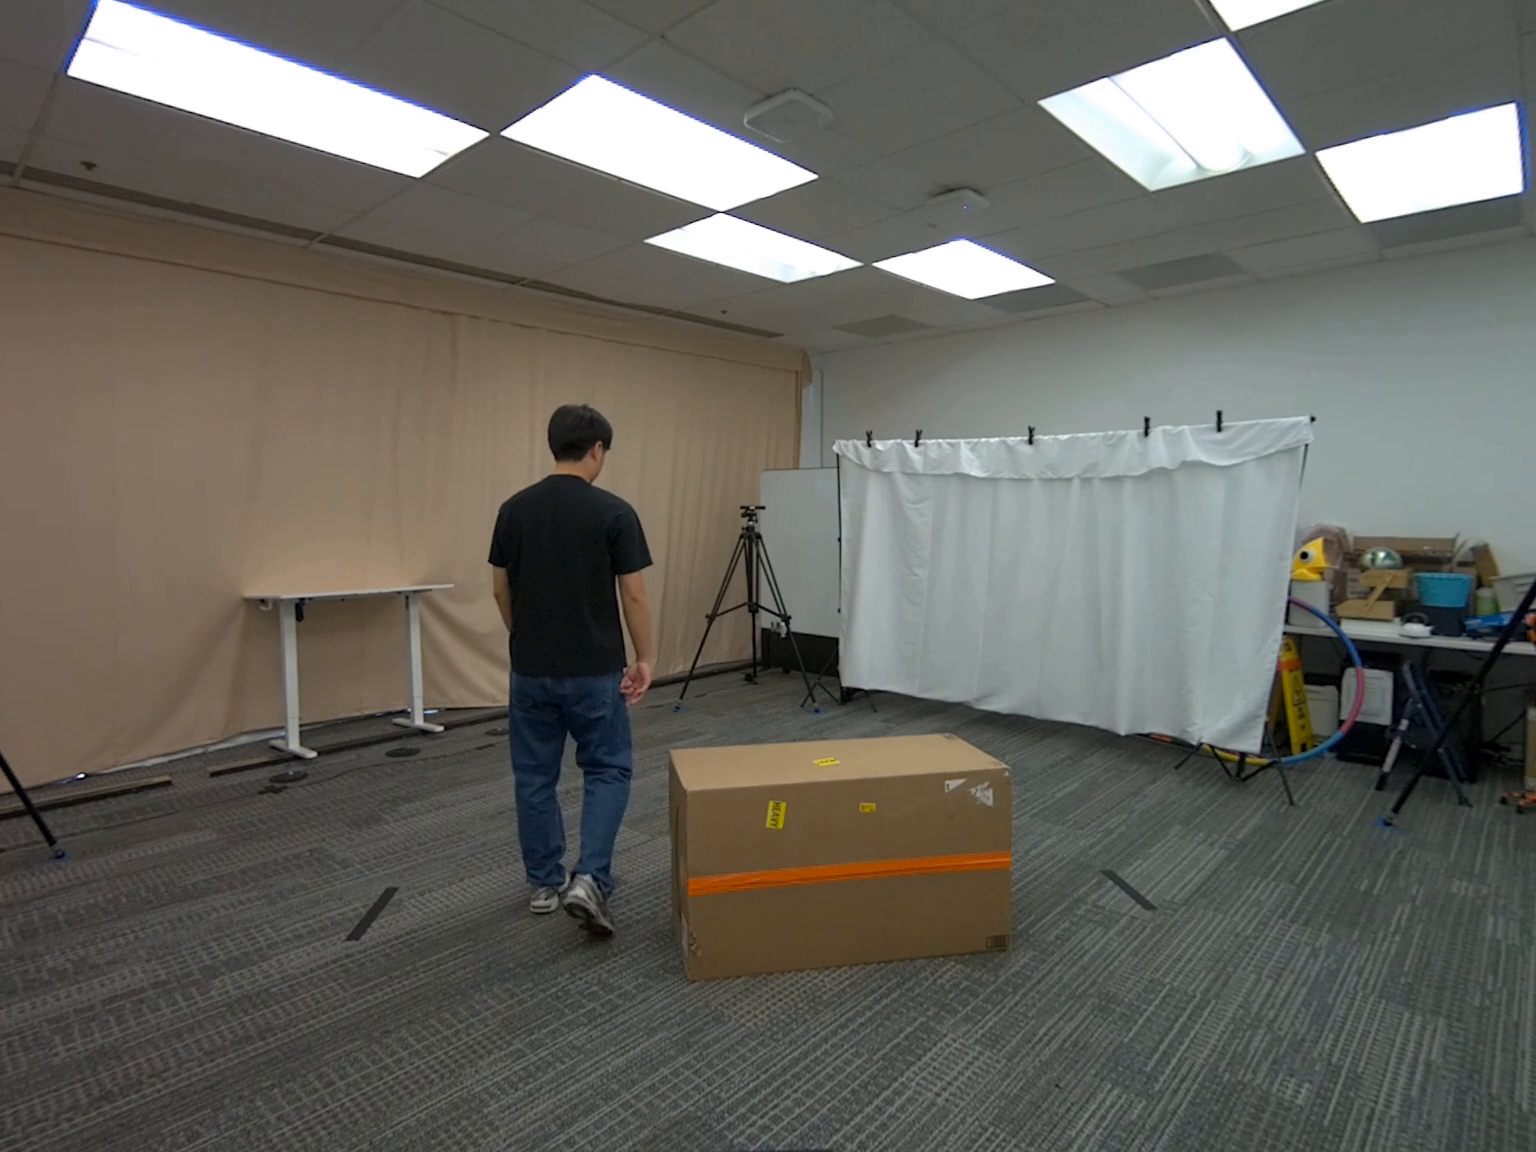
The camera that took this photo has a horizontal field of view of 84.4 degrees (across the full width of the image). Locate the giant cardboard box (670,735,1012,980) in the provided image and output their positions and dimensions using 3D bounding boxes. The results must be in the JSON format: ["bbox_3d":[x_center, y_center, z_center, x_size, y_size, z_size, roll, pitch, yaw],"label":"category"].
[{"bbox_3d":[0.218,0.879,2.728,1.015,0.582,0.453,-2,4,-11],"label":"giant cardboard box"}]
